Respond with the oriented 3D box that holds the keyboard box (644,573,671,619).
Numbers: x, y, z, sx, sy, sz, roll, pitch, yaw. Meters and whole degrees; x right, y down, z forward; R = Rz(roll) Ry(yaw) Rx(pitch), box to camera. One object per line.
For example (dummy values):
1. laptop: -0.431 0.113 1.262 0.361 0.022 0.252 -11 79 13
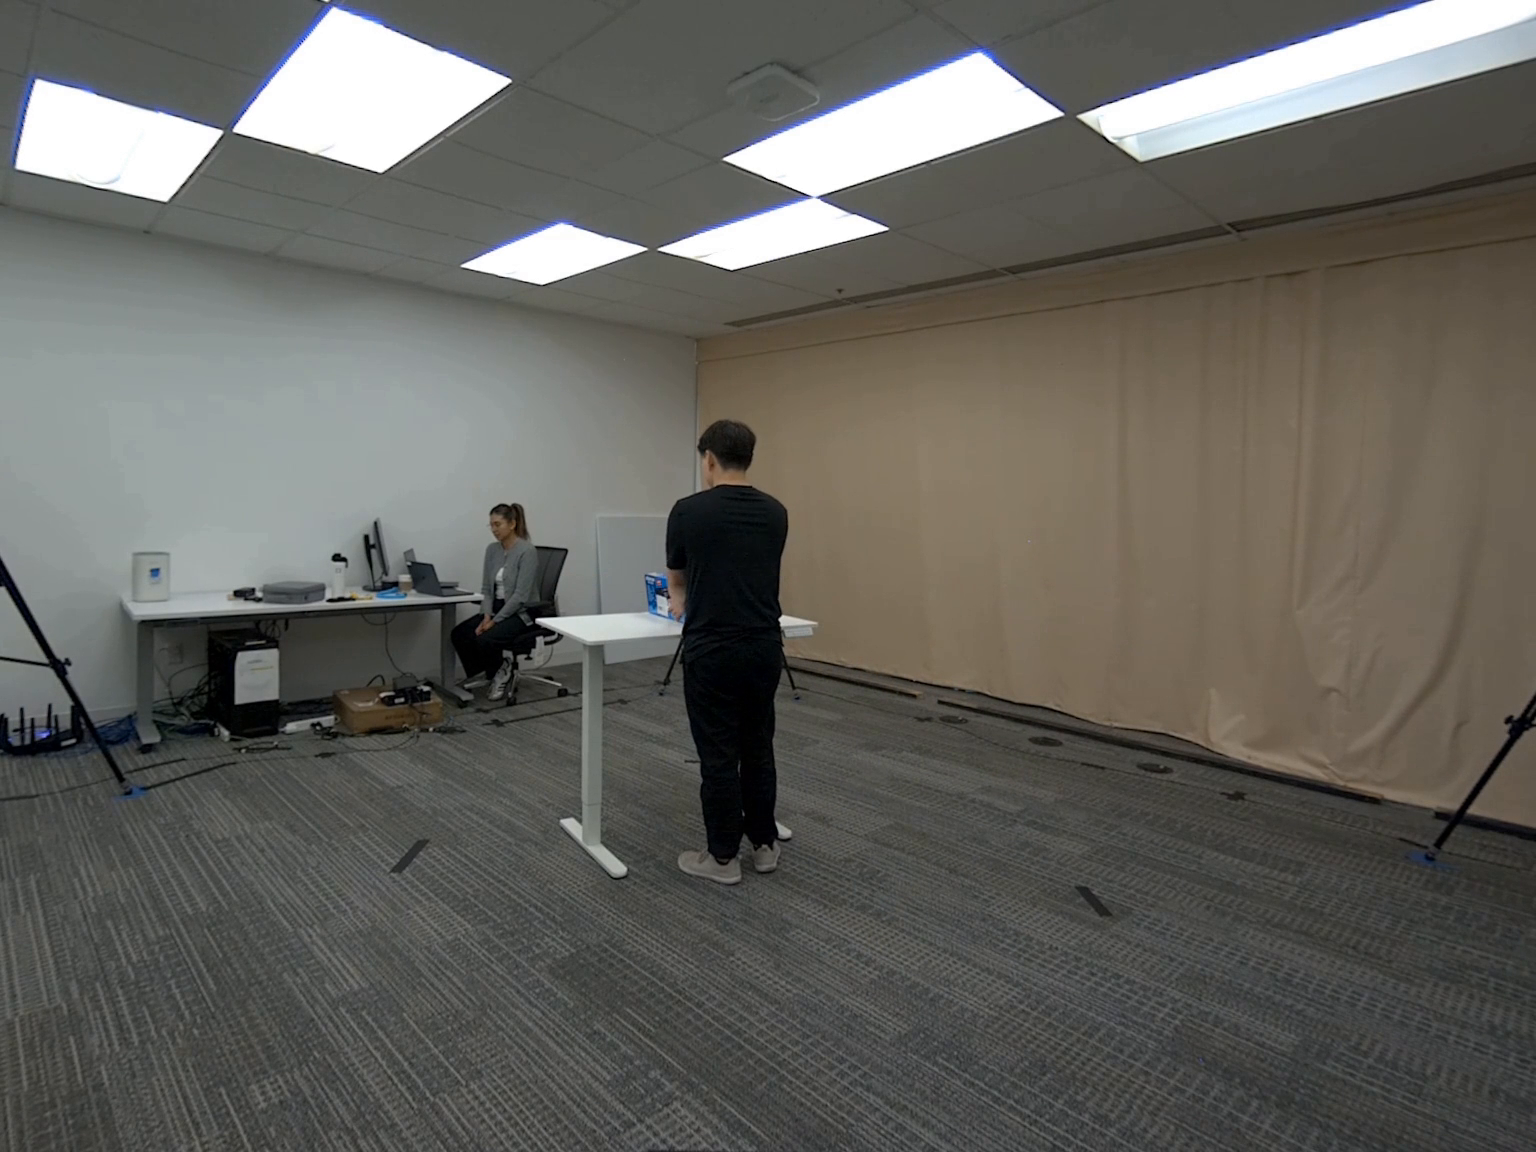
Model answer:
1. keyboard box: -0.398 0.095 3.504 0.058 0.175 0.447 -8 10 -30
